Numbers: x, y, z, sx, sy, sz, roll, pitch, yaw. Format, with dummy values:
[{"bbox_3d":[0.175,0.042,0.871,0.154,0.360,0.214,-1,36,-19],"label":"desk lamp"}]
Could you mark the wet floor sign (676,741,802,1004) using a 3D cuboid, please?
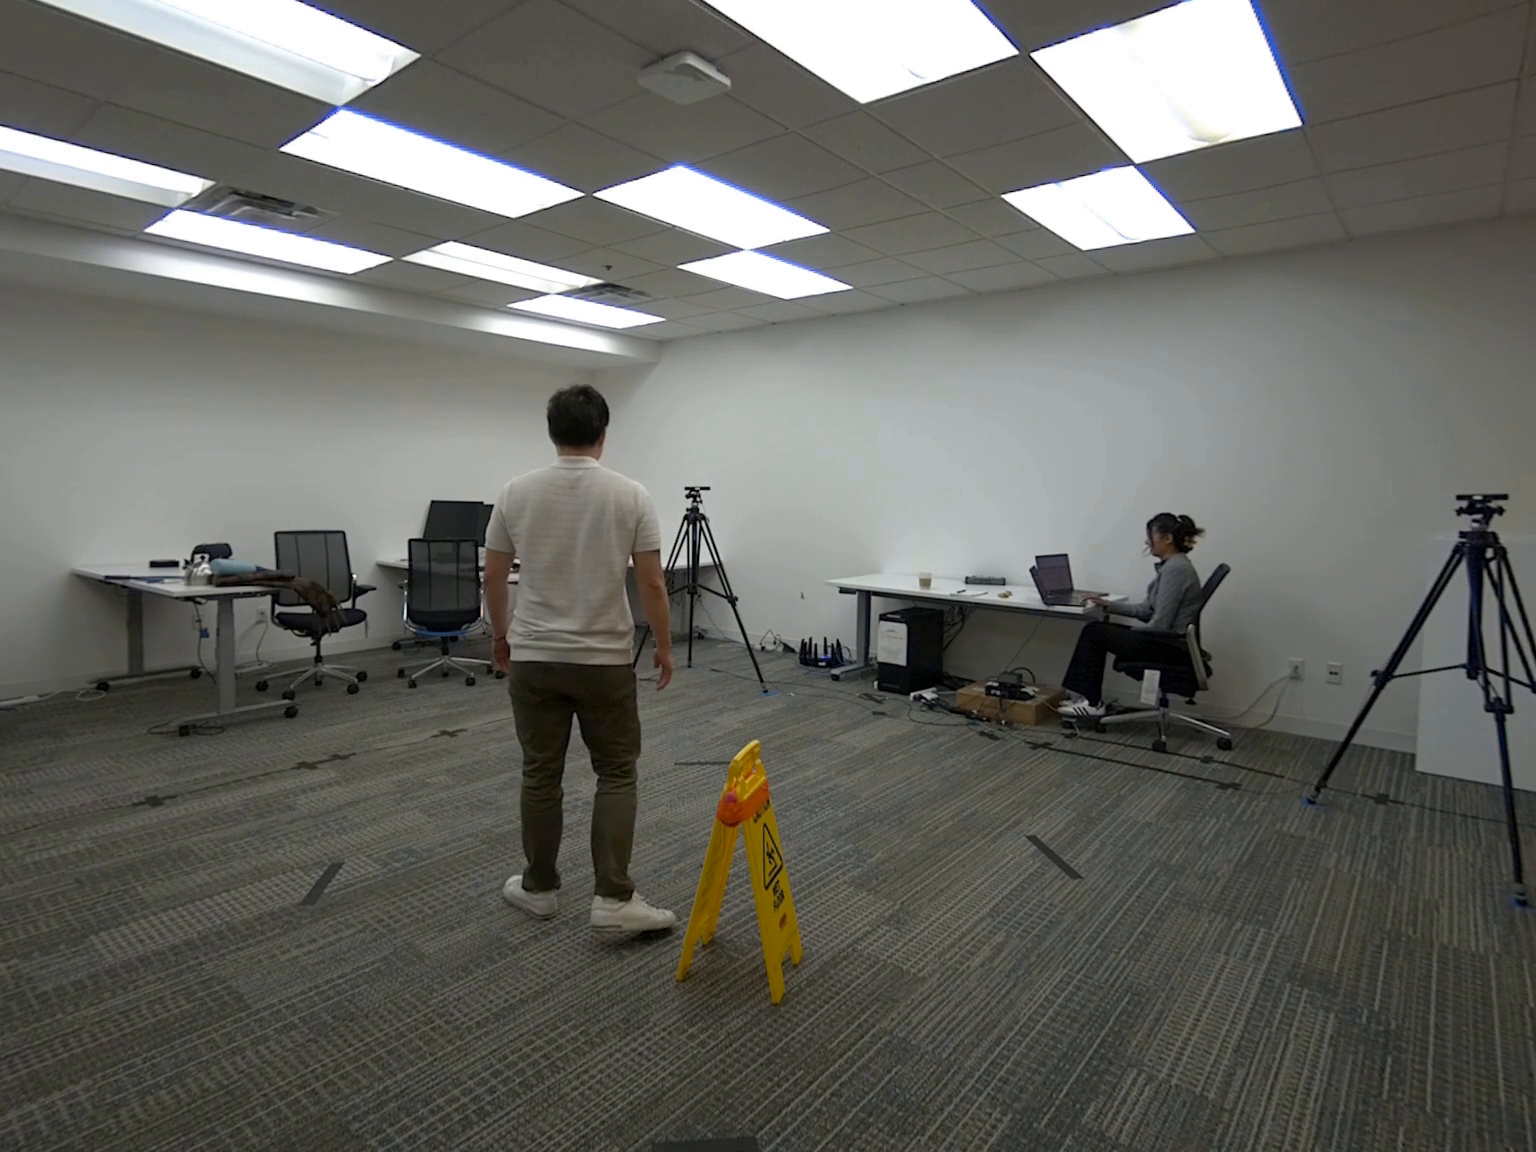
[{"bbox_3d":[-0.074,0.811,2.446,0.296,0.644,0.277,3,4,19],"label":"wet floor sign"}]
